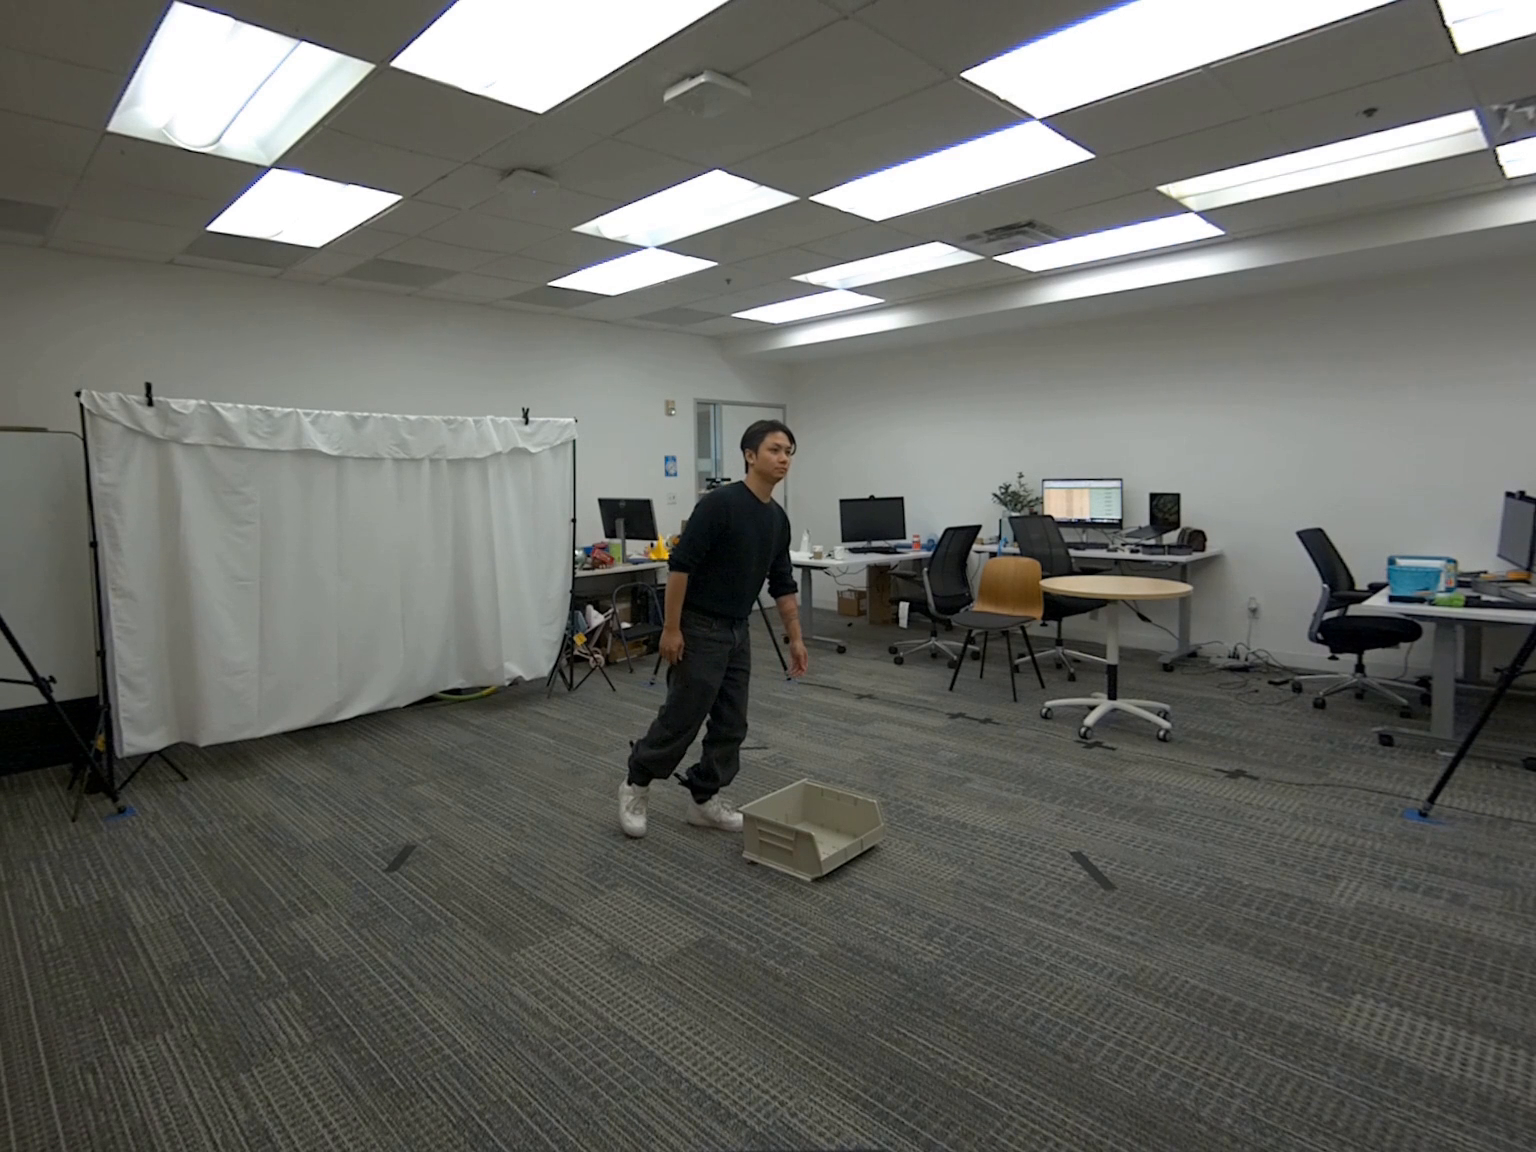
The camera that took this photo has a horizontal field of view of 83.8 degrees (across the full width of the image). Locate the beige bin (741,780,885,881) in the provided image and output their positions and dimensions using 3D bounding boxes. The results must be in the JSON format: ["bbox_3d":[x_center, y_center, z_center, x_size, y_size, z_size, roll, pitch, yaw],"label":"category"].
[{"bbox_3d":[0.168,0.941,3.184,0.389,0.188,0.412,3,8,40],"label":"beige bin"}]
